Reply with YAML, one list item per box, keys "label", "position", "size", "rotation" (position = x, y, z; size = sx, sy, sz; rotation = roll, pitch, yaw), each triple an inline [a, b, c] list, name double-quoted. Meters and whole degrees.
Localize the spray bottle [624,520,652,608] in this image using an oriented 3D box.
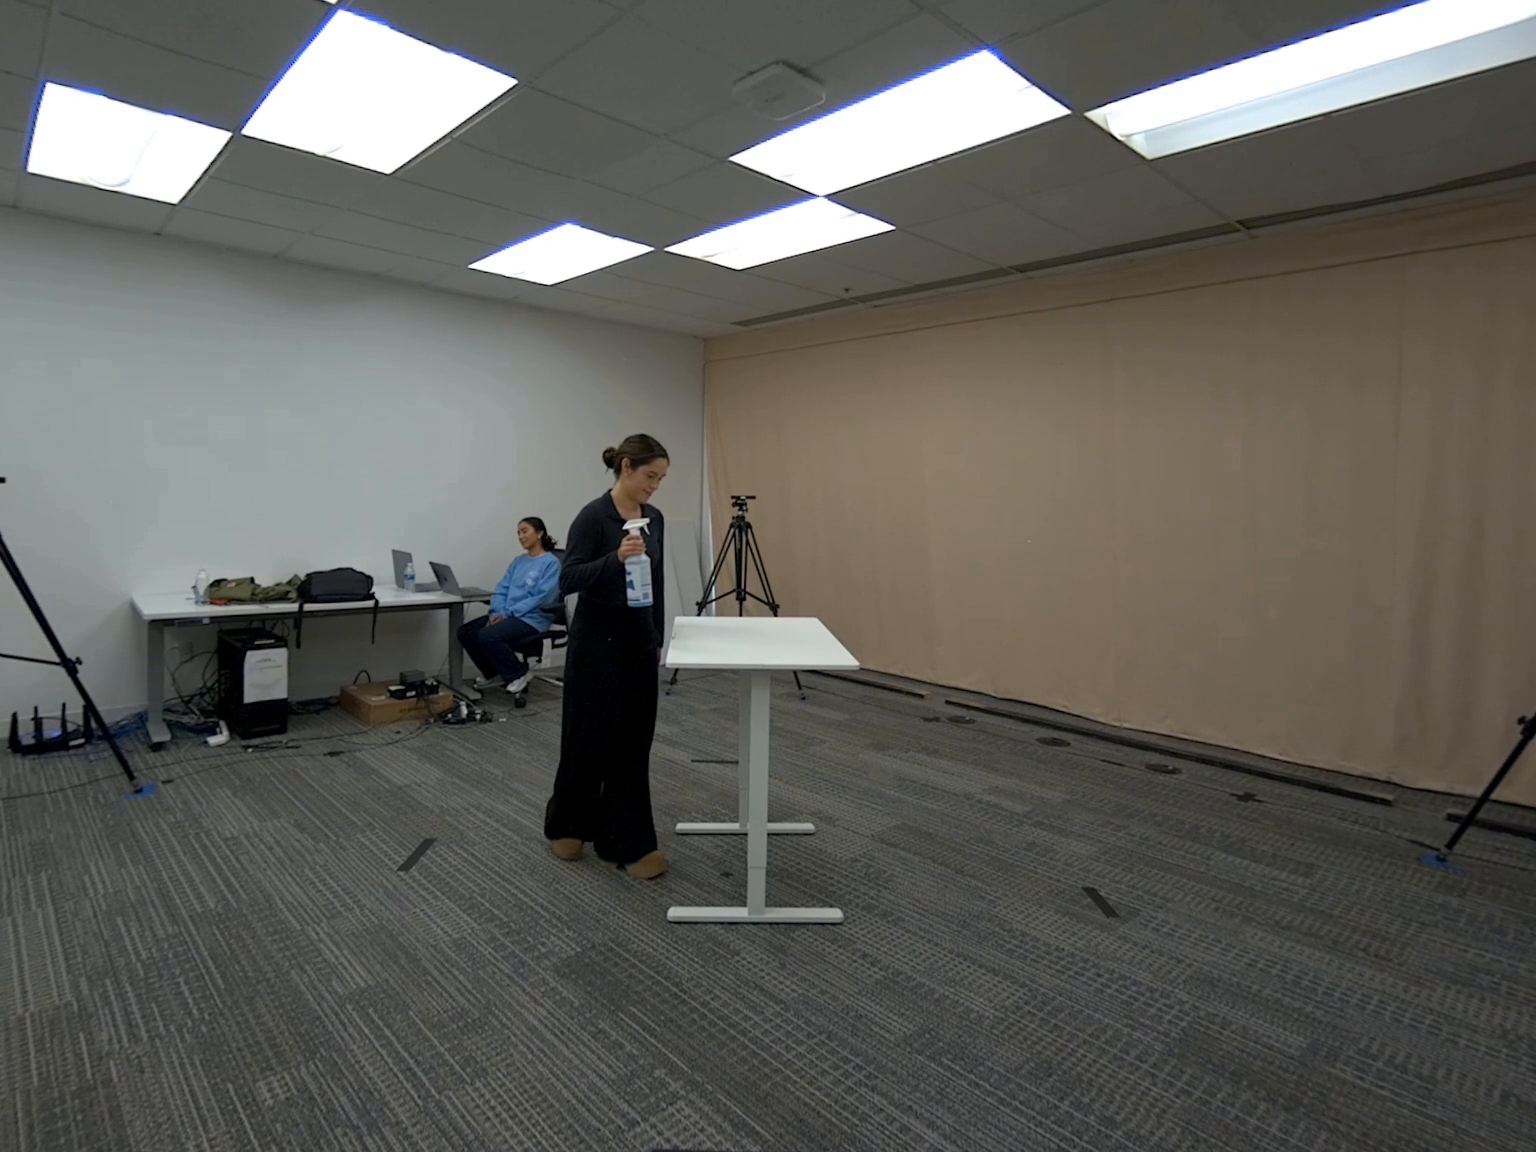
- label: "spray bottle"
  position: [-0.462, -0.041, 2.874]
  size: [0.092, 0.296, 0.085]
  rotation: [0, 4, 26]
